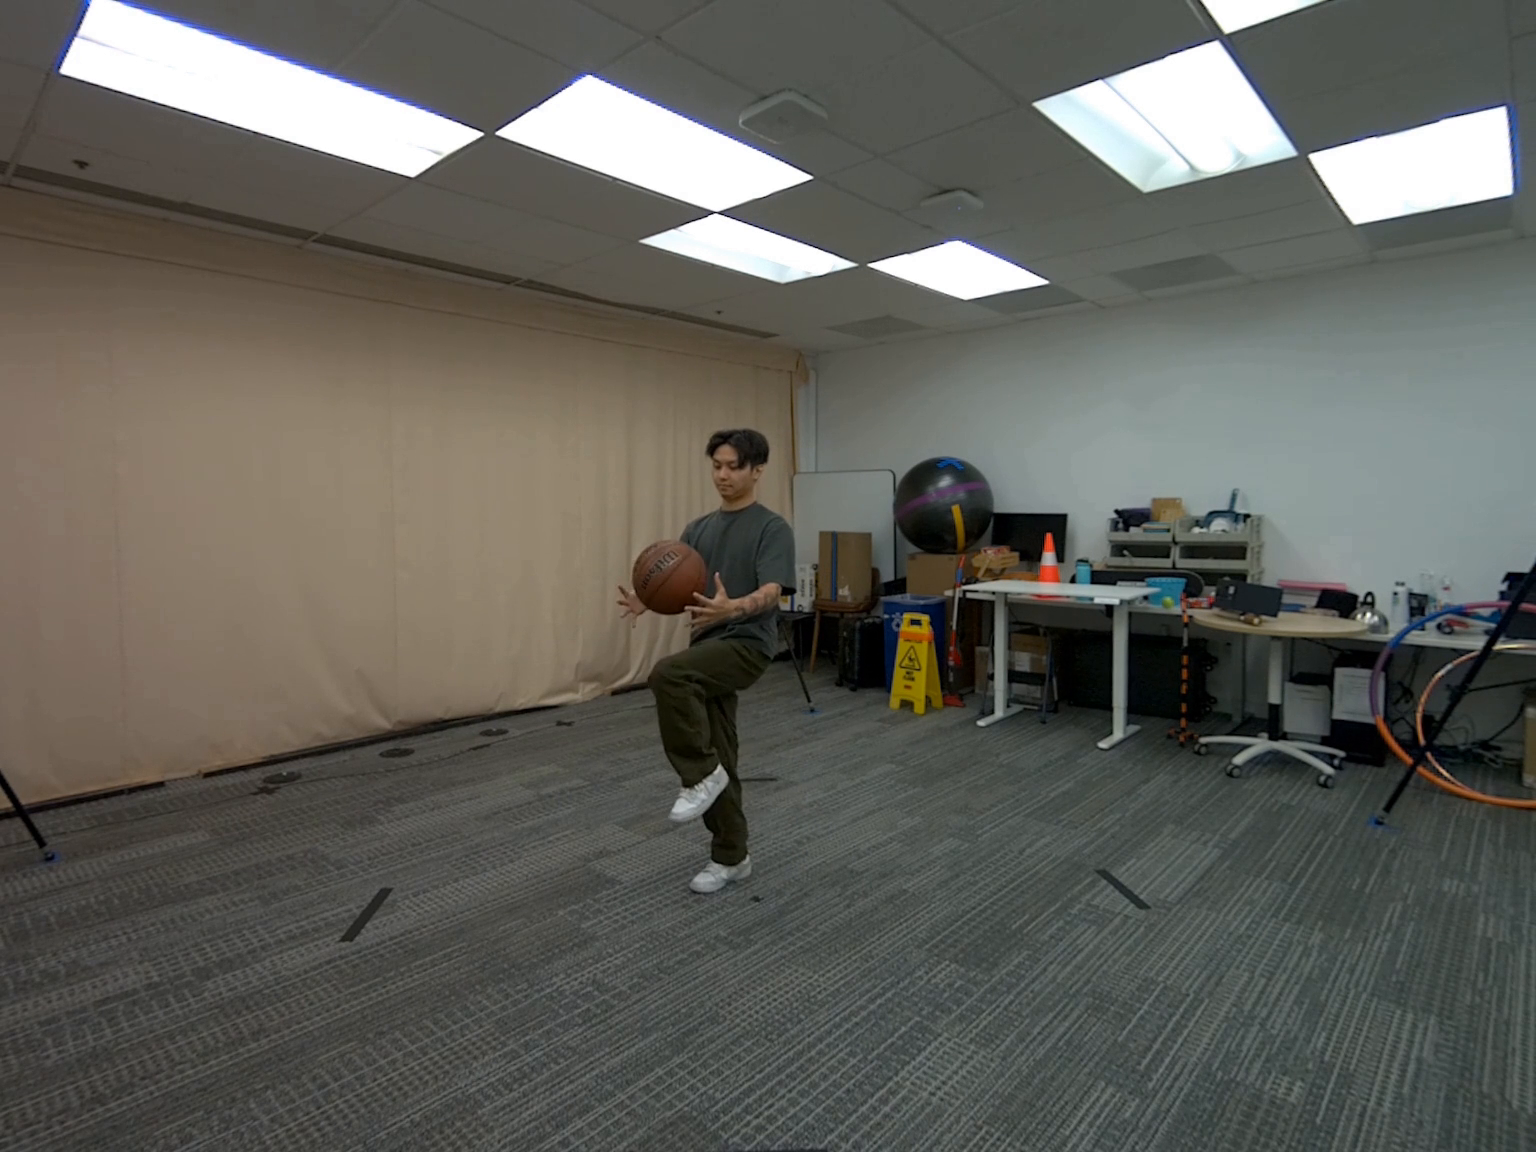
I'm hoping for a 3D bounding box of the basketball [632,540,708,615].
[{"bbox_3d":[-0.313,0.023,2.674,0.236,0.235,0.237,0,4,-2],"label":"basketball"}]
